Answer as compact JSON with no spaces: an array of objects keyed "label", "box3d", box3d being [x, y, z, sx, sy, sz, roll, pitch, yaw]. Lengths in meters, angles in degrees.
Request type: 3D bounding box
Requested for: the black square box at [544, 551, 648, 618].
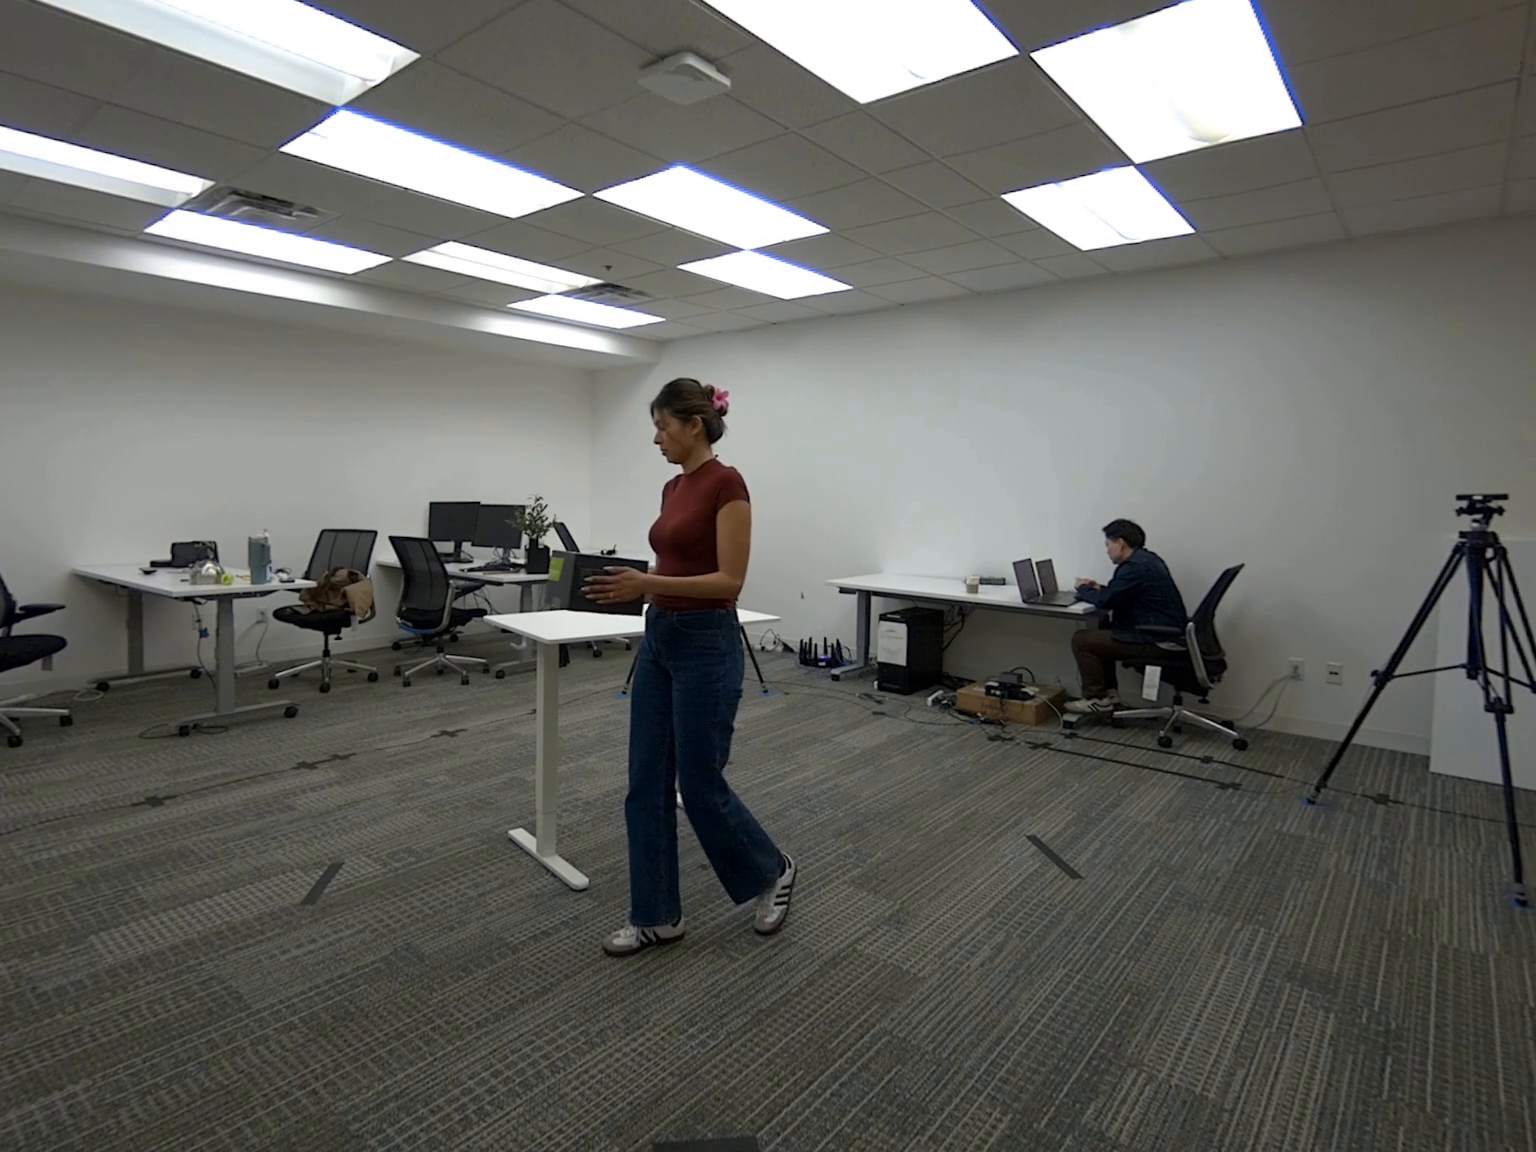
[{"label":"black square box","box3d":[-0.494,0.020,2.397,0.211,0.156,0.234,6,0,-28]}]
